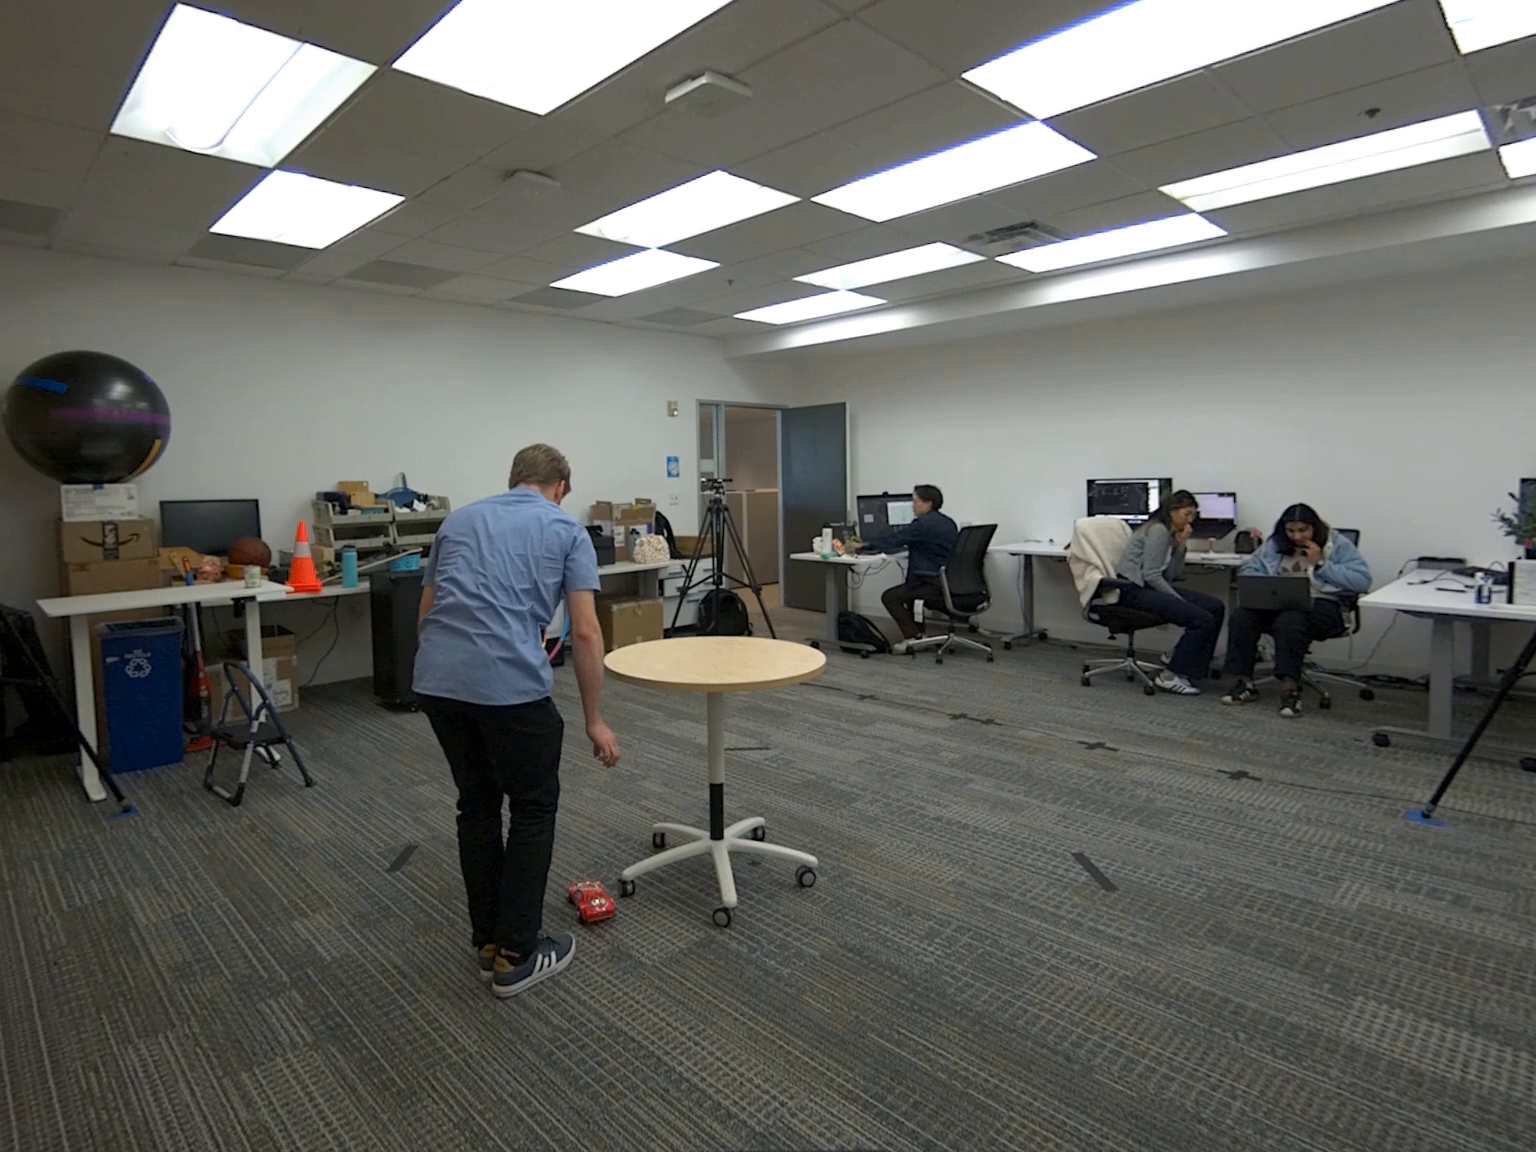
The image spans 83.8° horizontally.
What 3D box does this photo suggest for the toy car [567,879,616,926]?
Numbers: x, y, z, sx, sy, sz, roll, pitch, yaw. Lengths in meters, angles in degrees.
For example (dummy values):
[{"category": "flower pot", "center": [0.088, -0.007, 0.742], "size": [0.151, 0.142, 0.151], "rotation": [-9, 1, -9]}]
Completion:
[{"category": "toy car", "center": [-0.571, 1.063, 2.776], "size": [0.127, 0.083, 0.258], "rotation": [-5, -4, -26]}]
